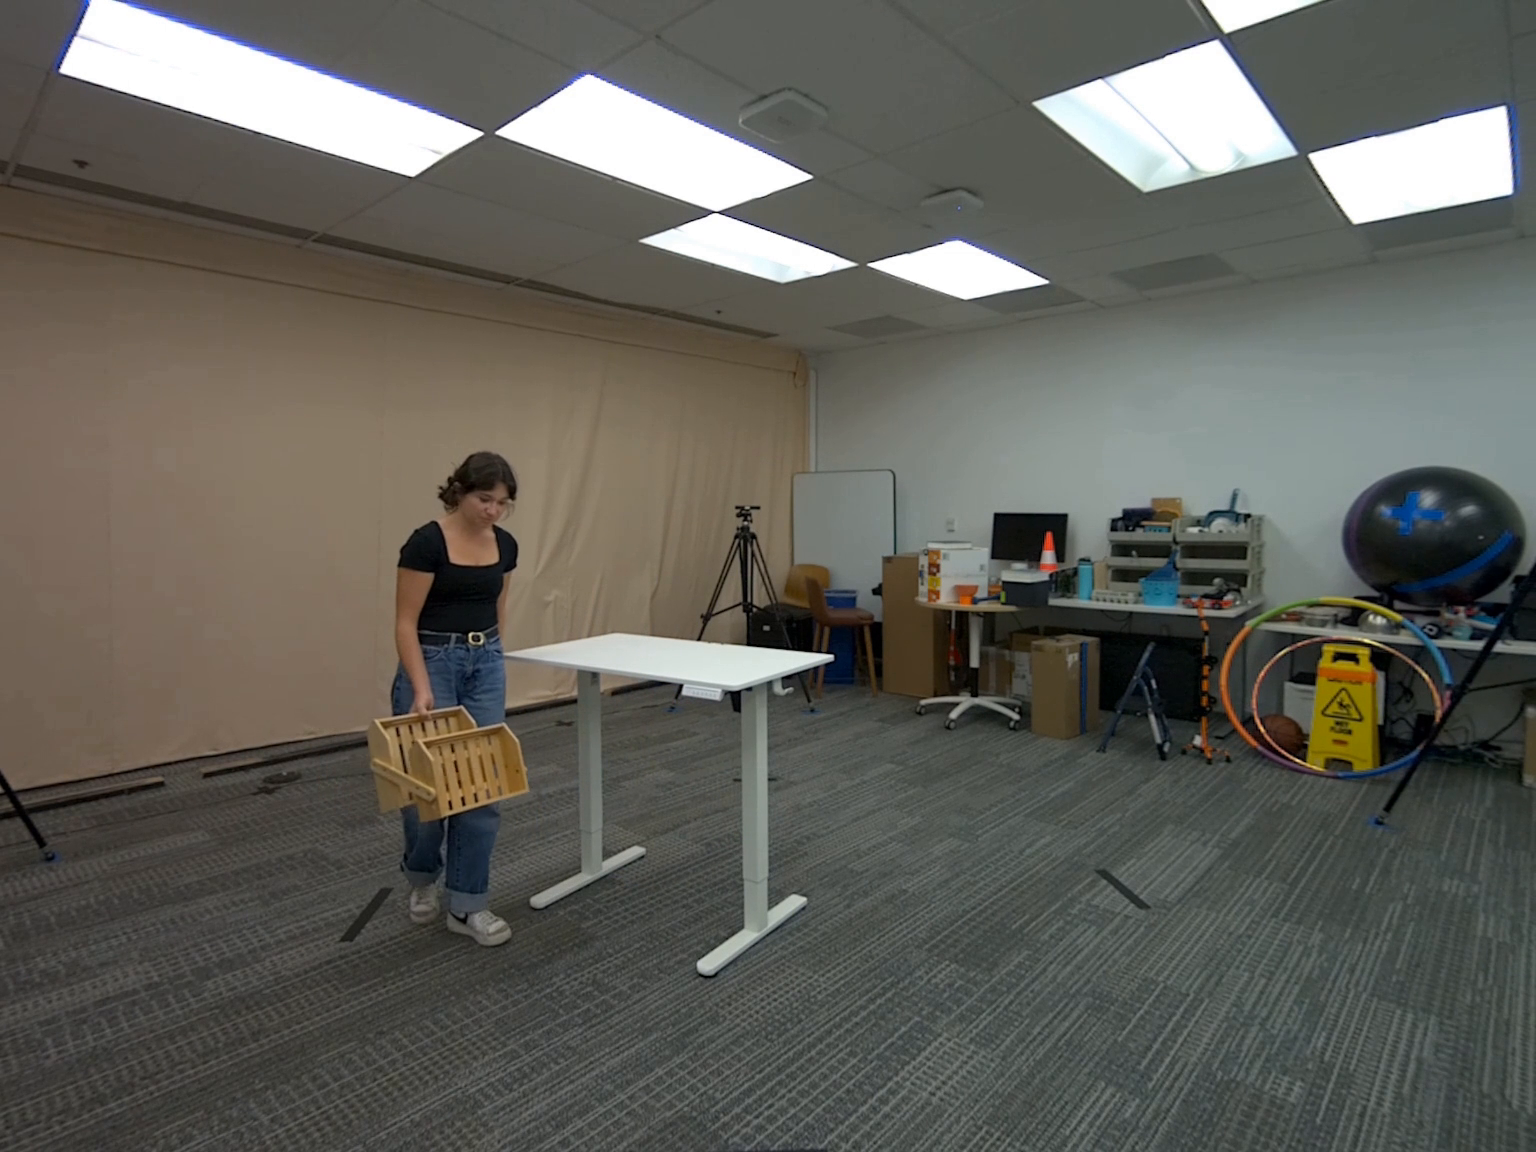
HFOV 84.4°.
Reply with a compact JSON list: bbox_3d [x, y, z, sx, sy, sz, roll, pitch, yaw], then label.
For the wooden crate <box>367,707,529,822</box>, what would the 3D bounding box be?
[{"bbox_3d":[-0.885,0.512,2.378,0.278,0.305,0.315,-23,-11,30],"label":"wooden crate"}]
